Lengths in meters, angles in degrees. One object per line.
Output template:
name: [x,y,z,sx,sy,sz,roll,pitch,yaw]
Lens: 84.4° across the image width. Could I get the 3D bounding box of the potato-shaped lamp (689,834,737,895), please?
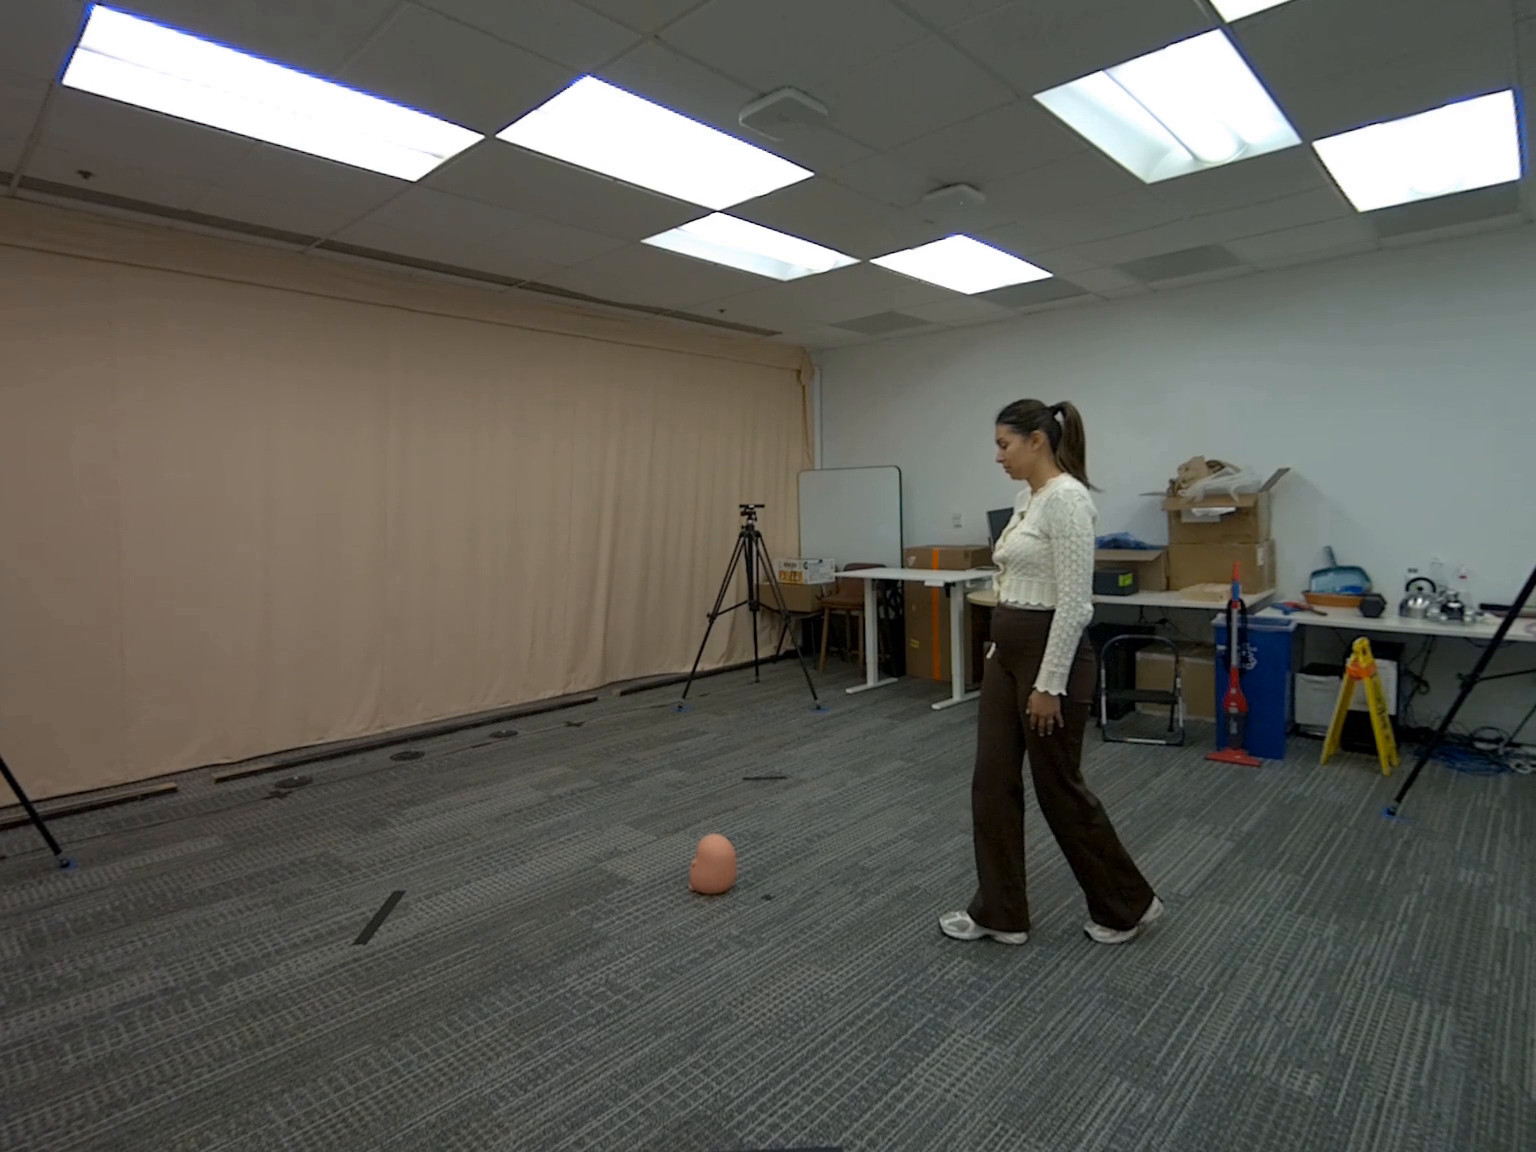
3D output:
potato-shaped lamp: [-0.201,1.040,3.050,0.176,0.198,0.160,2,3,29]
